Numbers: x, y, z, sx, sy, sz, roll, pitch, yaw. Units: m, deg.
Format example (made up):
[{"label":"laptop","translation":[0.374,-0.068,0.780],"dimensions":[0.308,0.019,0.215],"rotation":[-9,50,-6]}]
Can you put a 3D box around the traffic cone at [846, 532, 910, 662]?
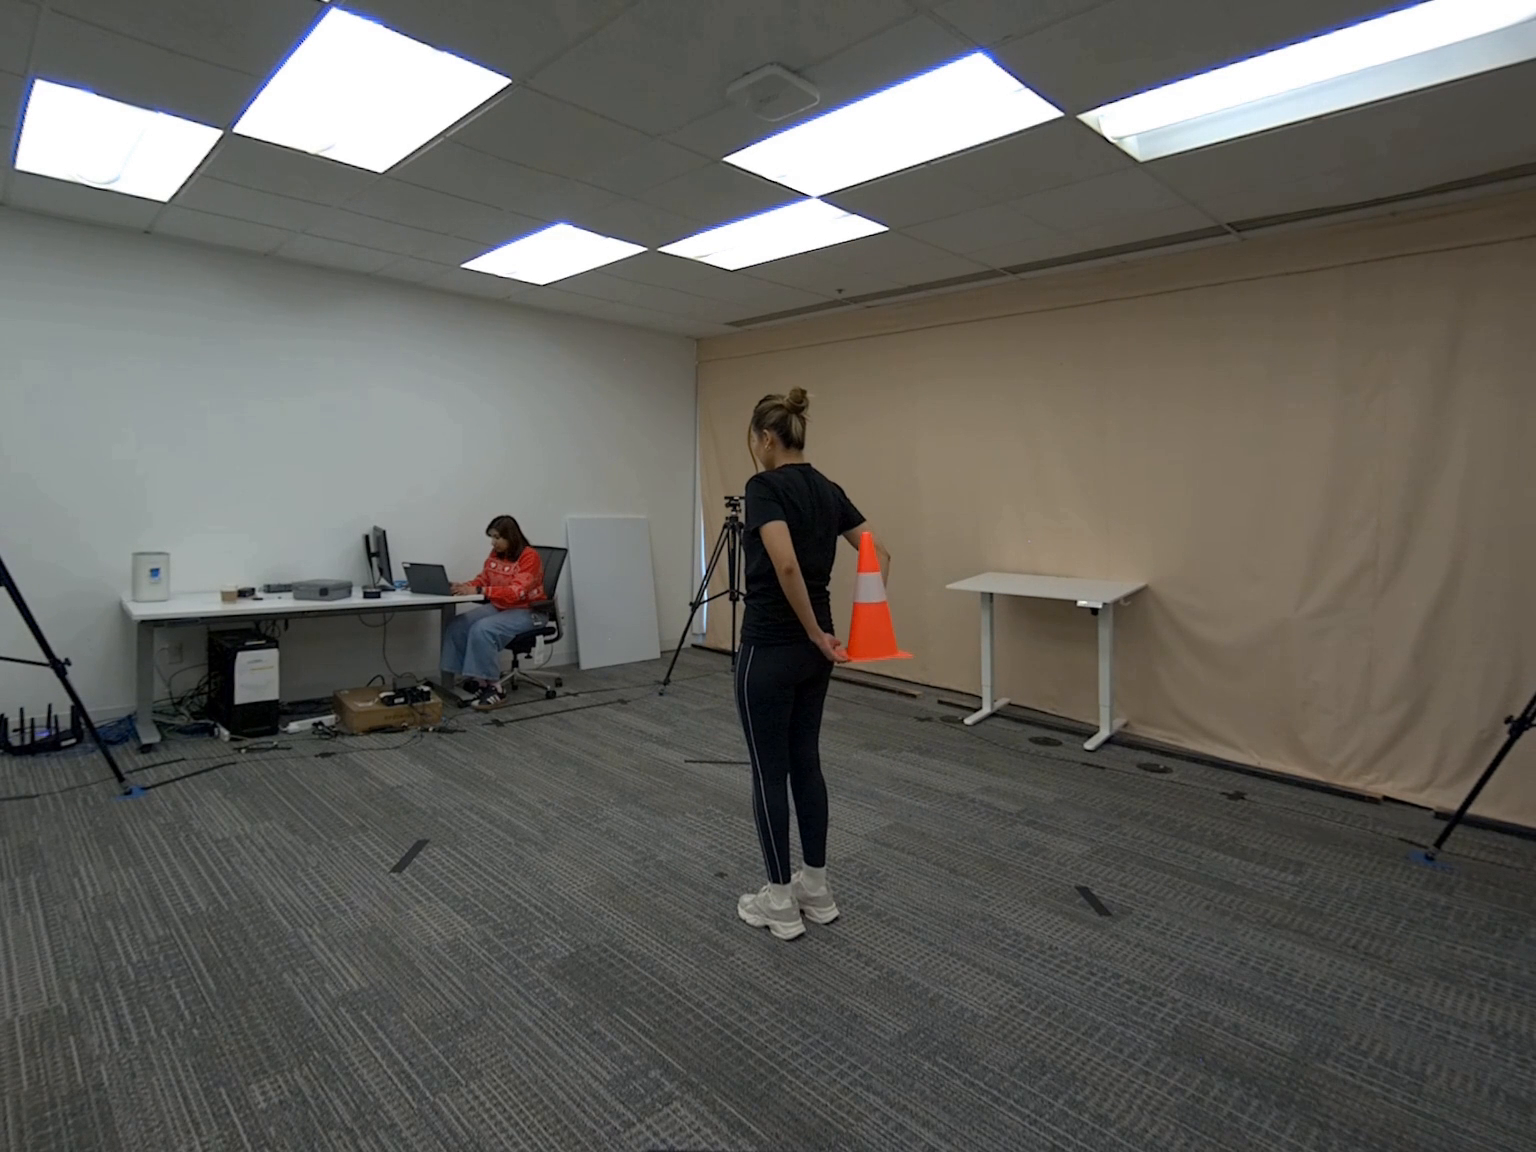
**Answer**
[{"label":"traffic cone","translation":[0.306,0.055,2.625],"dimensions":[0.199,0.383,0.209],"rotation":[-1,3,-31]}]
